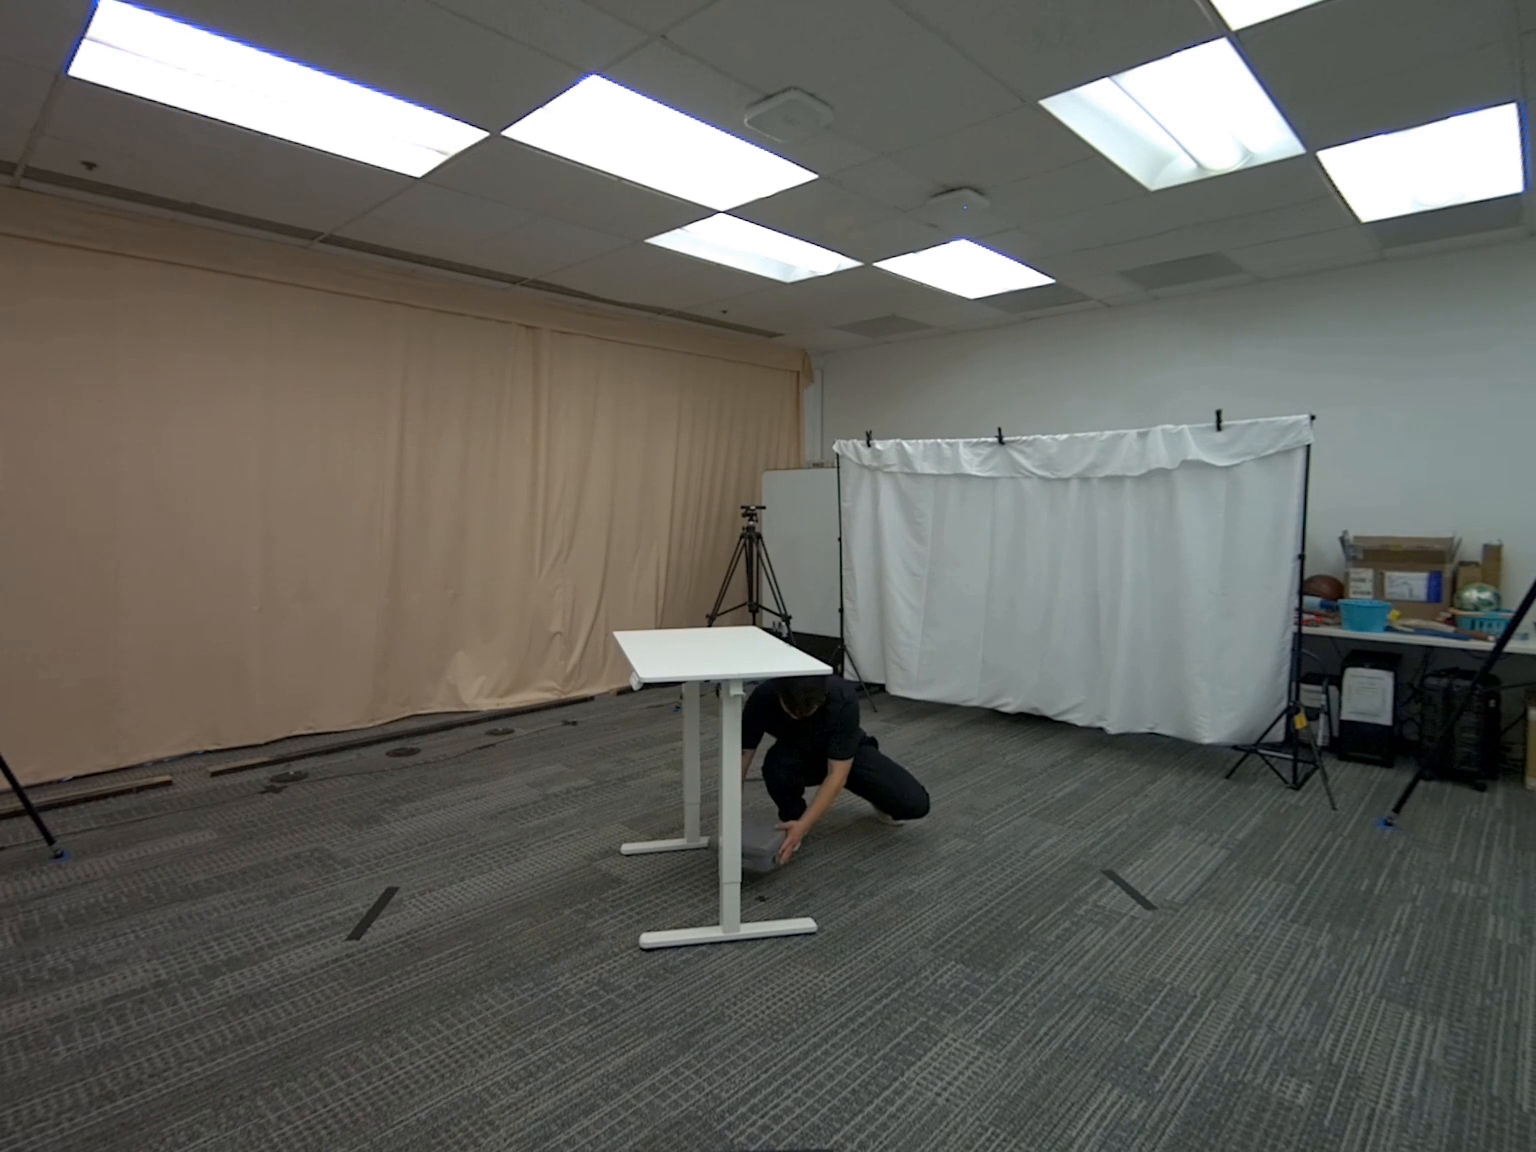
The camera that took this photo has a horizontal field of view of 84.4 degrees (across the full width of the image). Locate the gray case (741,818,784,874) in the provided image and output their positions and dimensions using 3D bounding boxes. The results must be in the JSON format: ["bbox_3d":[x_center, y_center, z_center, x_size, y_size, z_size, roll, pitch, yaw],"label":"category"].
[{"bbox_3d":[-0.067,0.994,3.126,0.263,0.104,0.255,2,5,22],"label":"gray case"}]
